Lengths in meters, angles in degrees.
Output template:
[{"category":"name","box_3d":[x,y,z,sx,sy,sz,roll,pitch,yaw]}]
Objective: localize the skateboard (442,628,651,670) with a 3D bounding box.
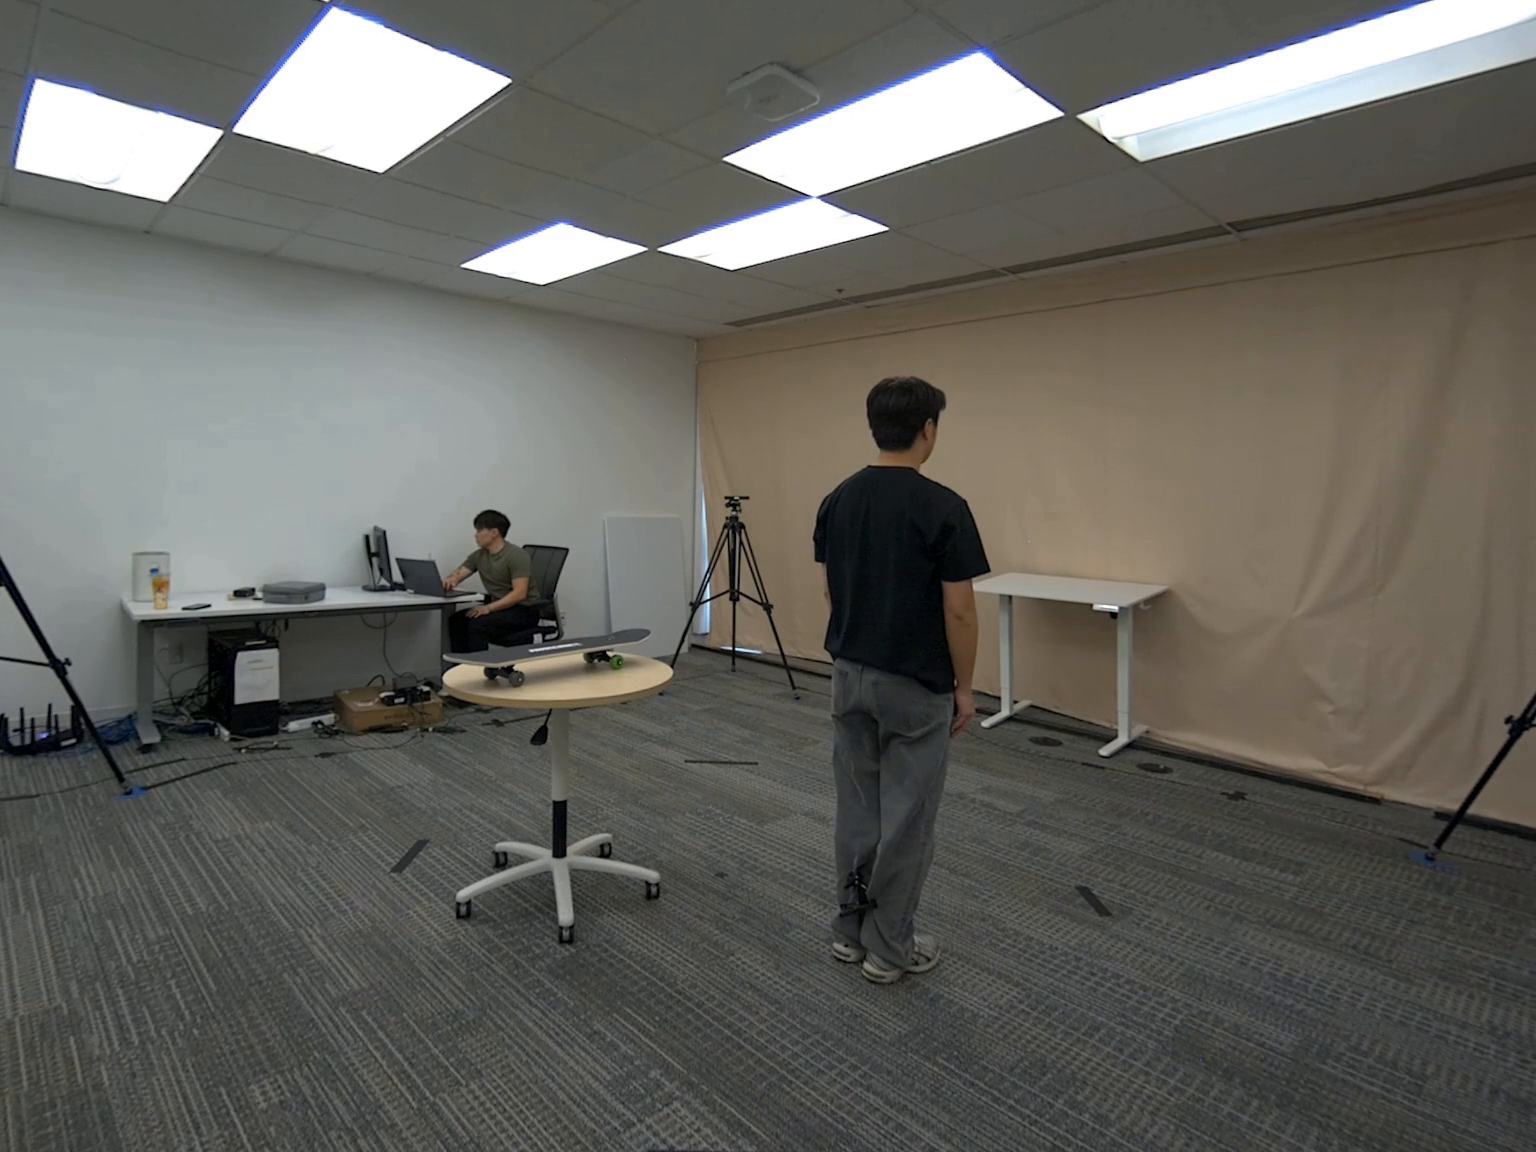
[{"category":"skateboard","box_3d":[-0.720,0.282,2.848,0.198,0.110,0.768,4,7,42]}]
